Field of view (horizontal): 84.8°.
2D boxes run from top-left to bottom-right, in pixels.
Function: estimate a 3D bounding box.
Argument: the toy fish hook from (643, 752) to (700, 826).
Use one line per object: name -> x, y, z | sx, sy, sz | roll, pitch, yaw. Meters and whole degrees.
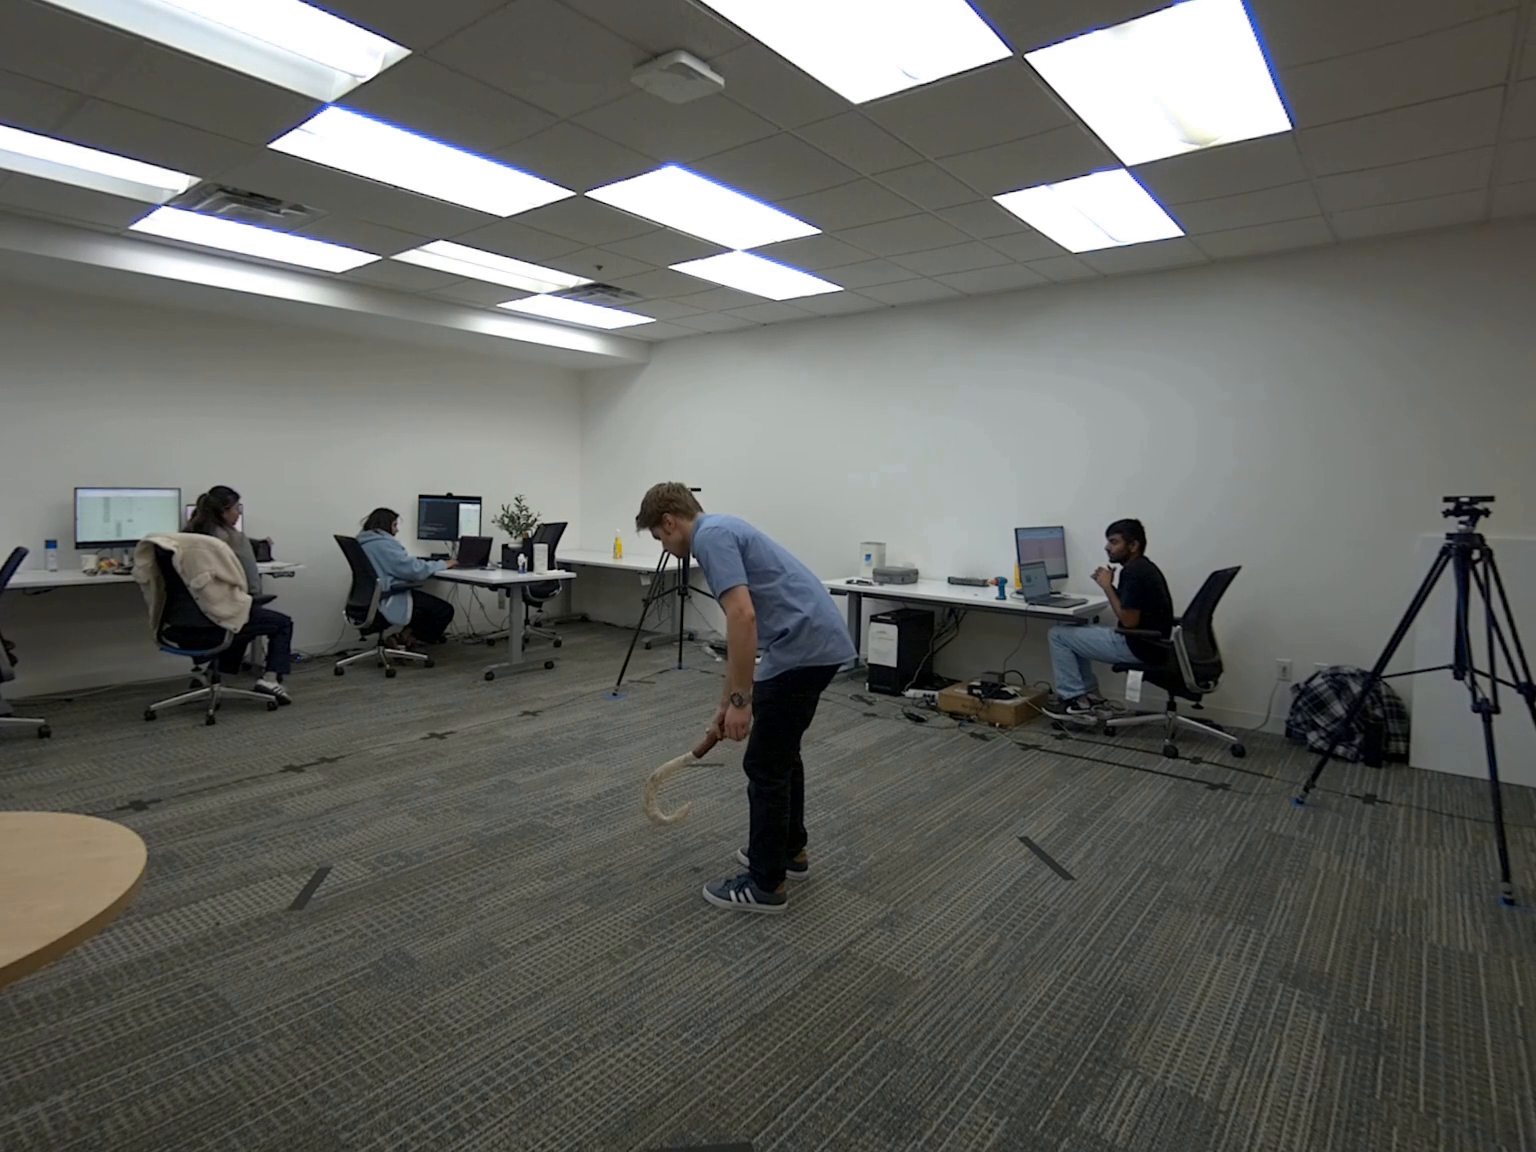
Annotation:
toy fish hook -> -0.297, 0.722, 3.138 | 0.046, 0.507, 0.233 | 23, 26, -53
